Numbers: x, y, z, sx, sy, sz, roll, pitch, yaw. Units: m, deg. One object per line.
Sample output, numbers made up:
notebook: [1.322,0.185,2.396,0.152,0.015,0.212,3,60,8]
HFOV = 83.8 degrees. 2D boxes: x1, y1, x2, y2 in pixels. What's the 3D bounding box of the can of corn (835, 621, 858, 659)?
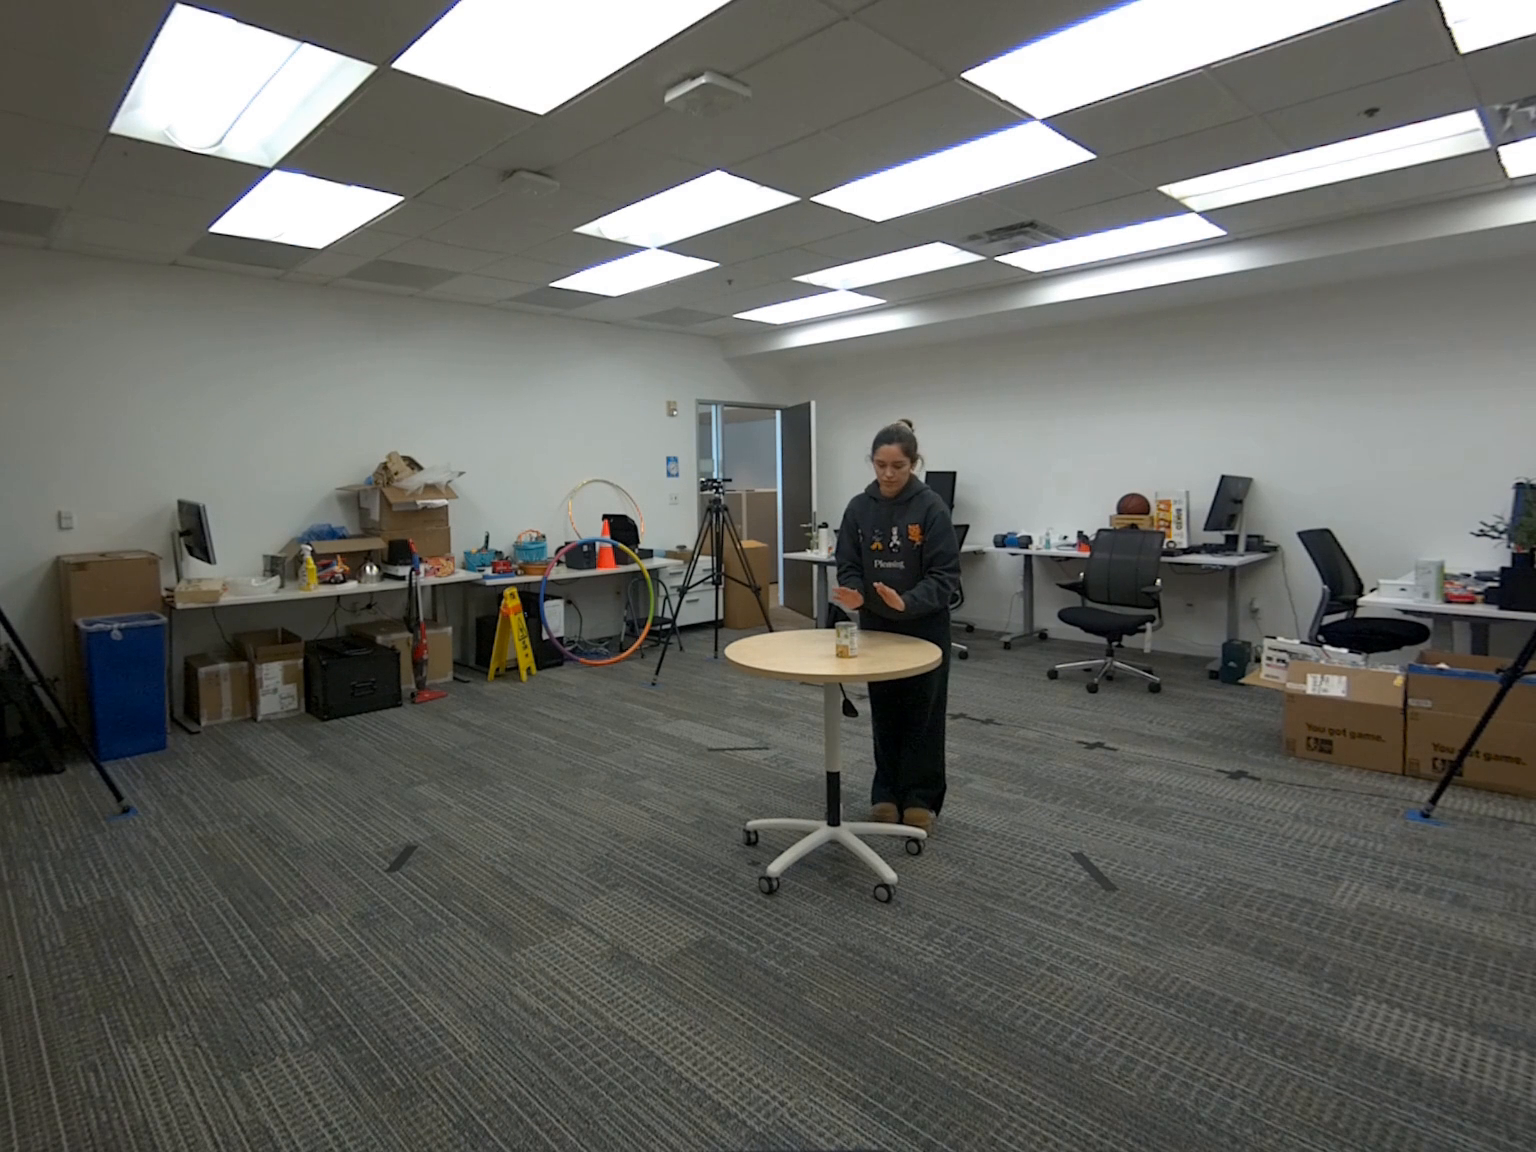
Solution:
can of corn: [0.276,0.222,2.921,0.074,0.111,0.074,1,4,-2]
